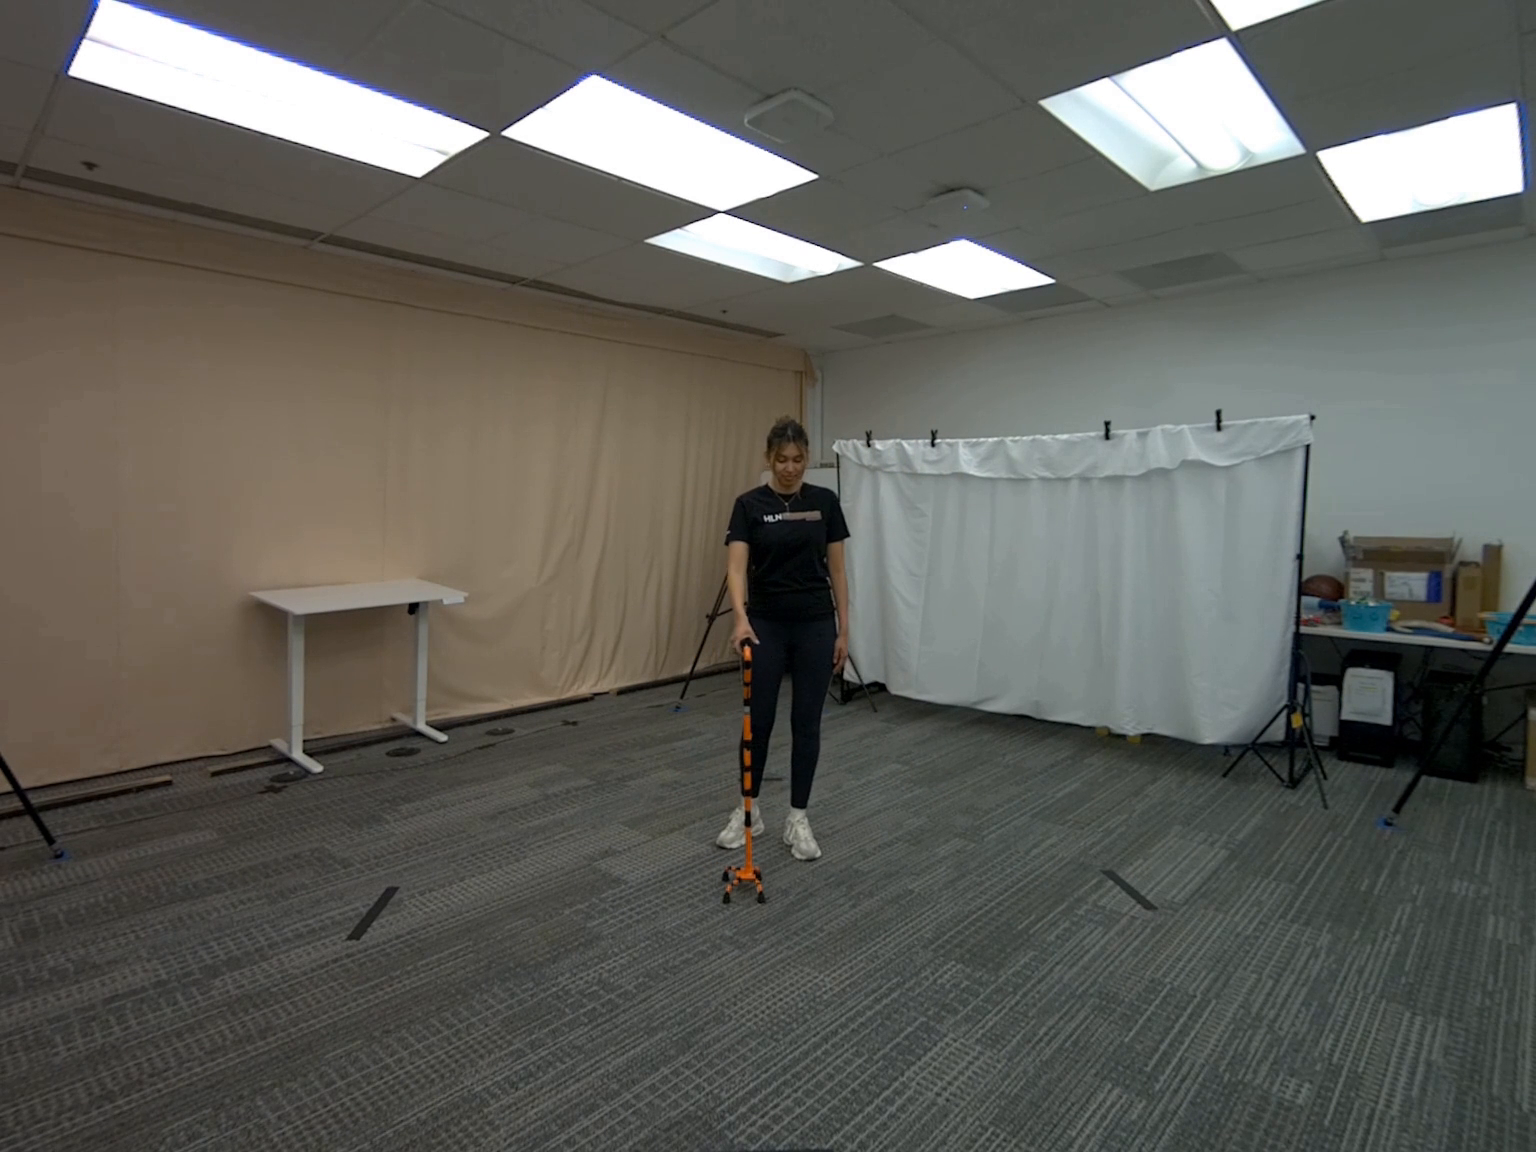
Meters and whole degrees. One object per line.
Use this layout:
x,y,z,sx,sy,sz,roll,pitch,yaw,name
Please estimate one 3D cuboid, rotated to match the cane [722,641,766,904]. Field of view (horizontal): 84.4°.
-0.091,0.680,3.021,0.151,0.906,0.207,0,2,-4,cane
